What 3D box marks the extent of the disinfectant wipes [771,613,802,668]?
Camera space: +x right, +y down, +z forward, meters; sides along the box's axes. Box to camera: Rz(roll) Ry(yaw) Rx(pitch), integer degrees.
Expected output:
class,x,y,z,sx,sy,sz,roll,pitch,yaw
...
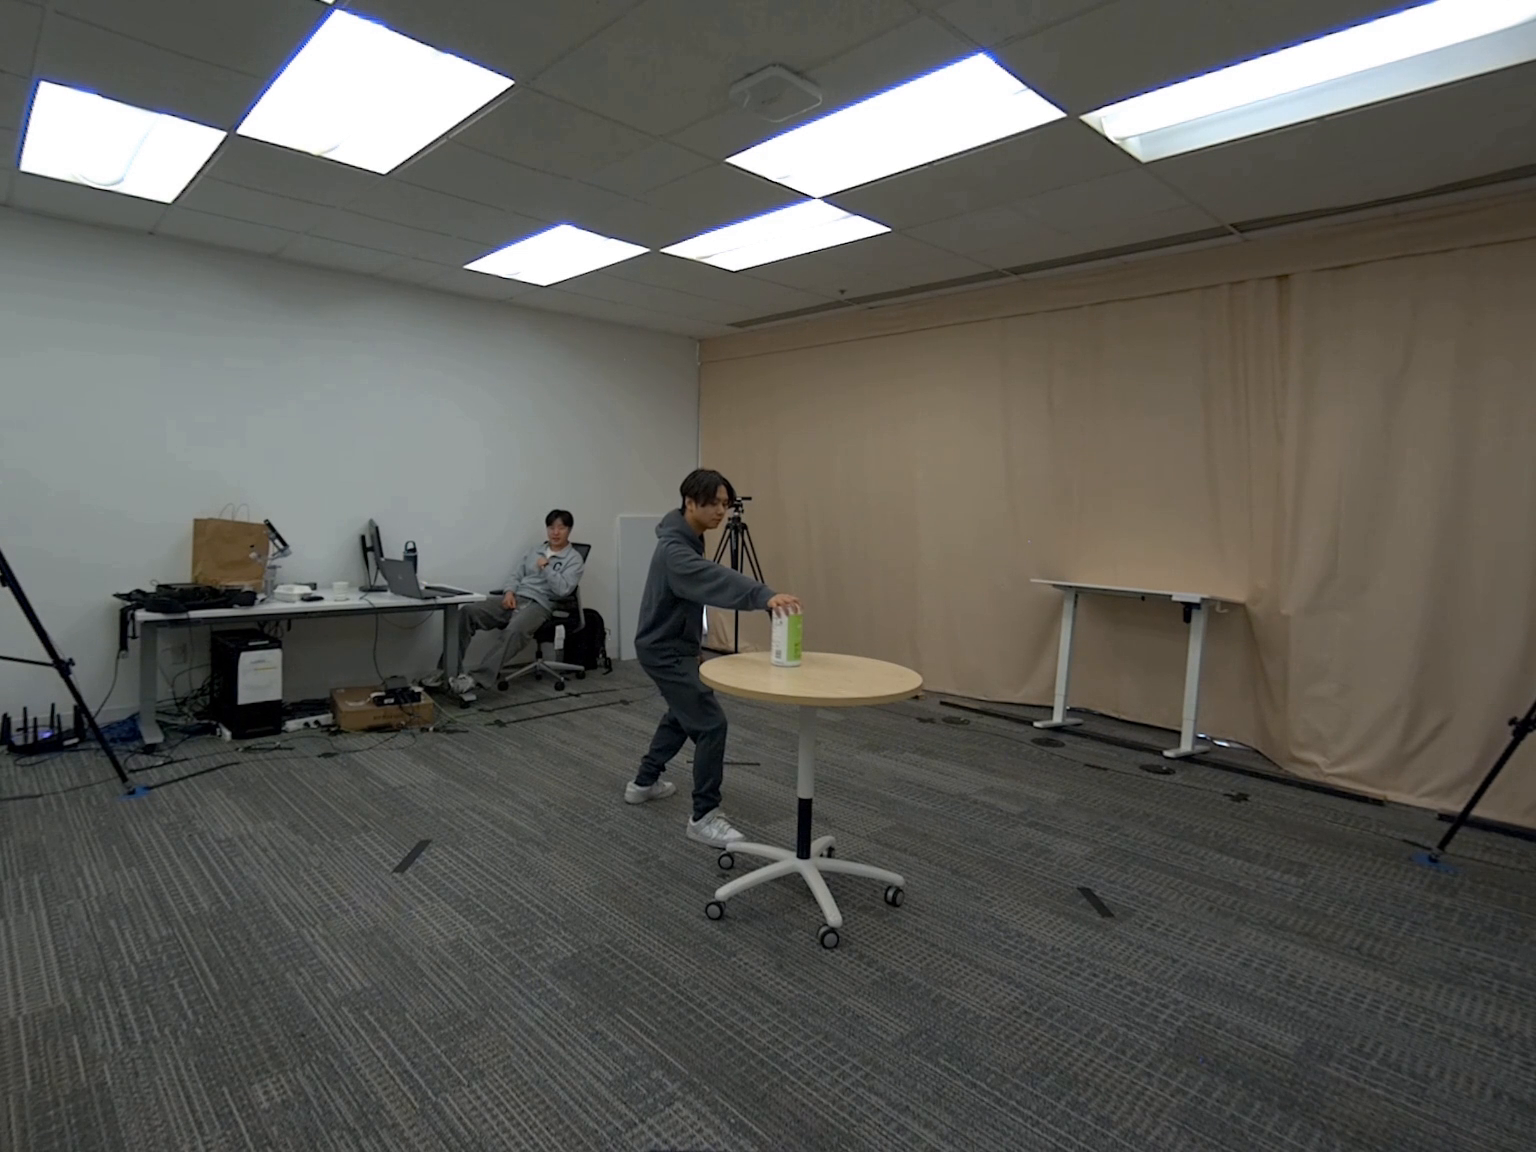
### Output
class,x,y,z,sx,sy,sz,roll,pitch,yaw
disinfectant wipes,0.061,0.214,3.029,0.118,0.217,0.118,0,2,-1
